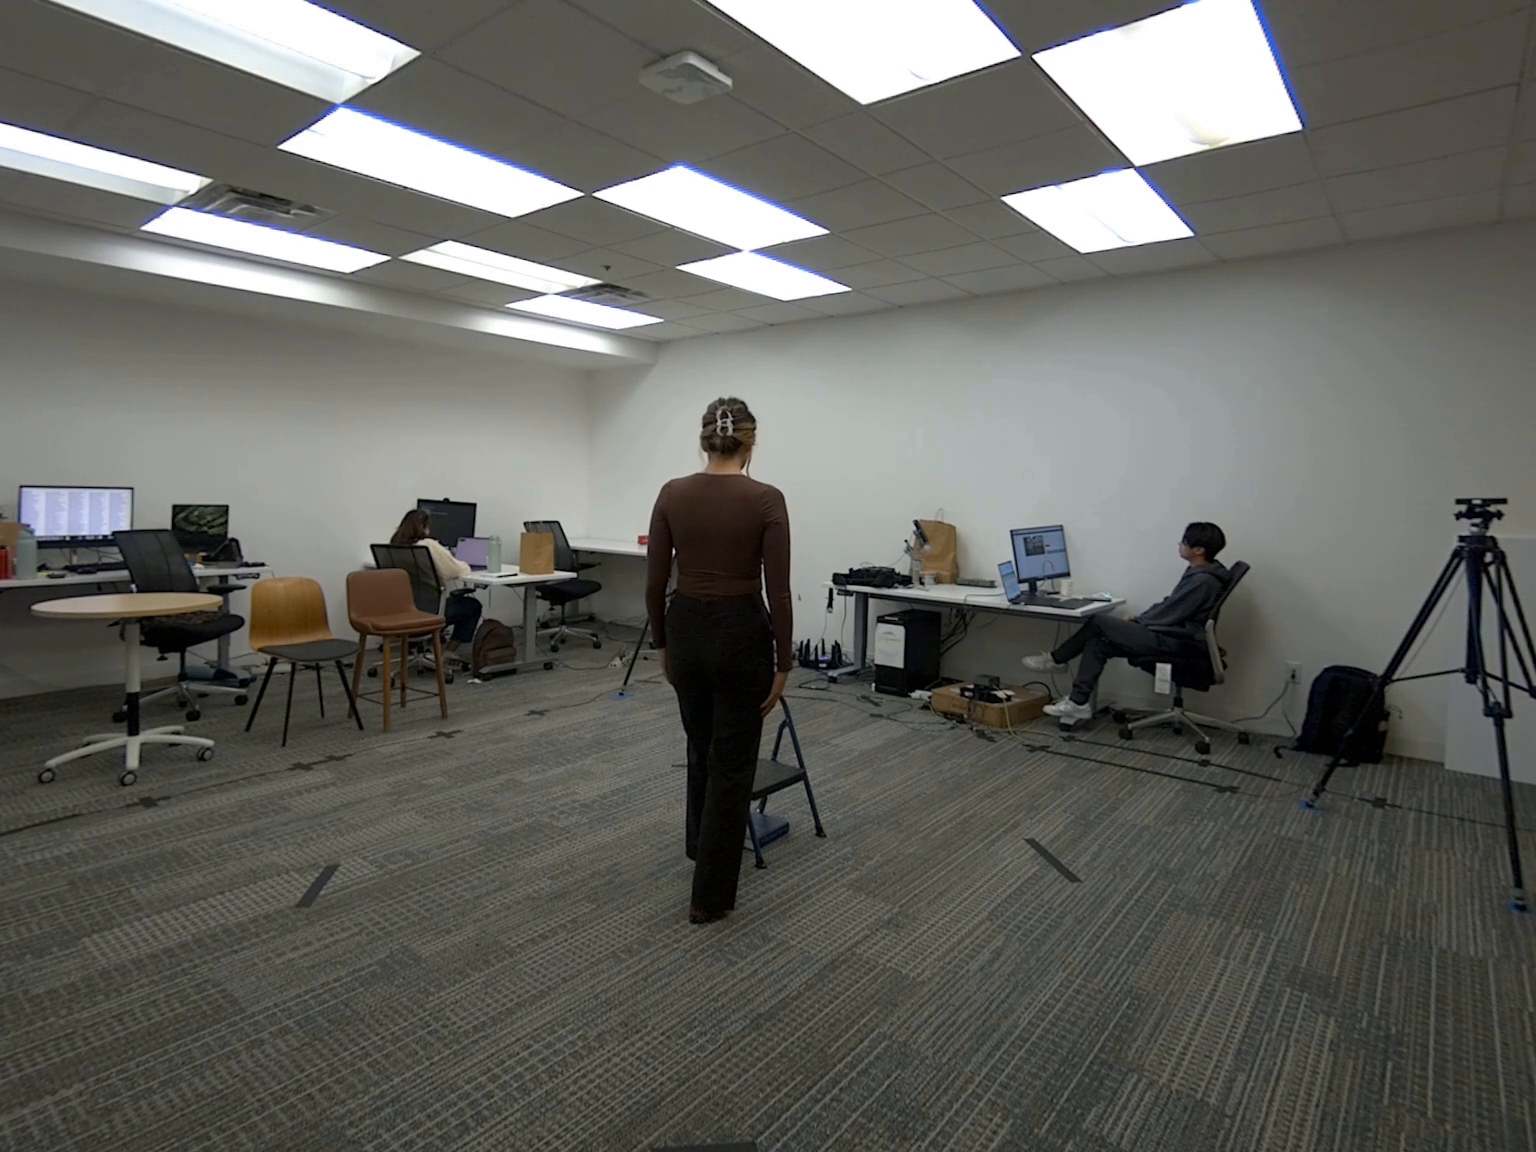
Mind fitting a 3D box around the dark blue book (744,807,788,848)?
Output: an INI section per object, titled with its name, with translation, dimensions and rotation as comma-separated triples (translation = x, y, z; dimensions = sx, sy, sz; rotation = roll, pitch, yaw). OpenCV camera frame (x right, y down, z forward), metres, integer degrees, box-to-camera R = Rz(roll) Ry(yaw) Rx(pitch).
[dark blue book]
translation = -0.057, 1.014, 3.408
dimensions = 0.169, 0.045, 0.238
rotation = 5, 7, 34
